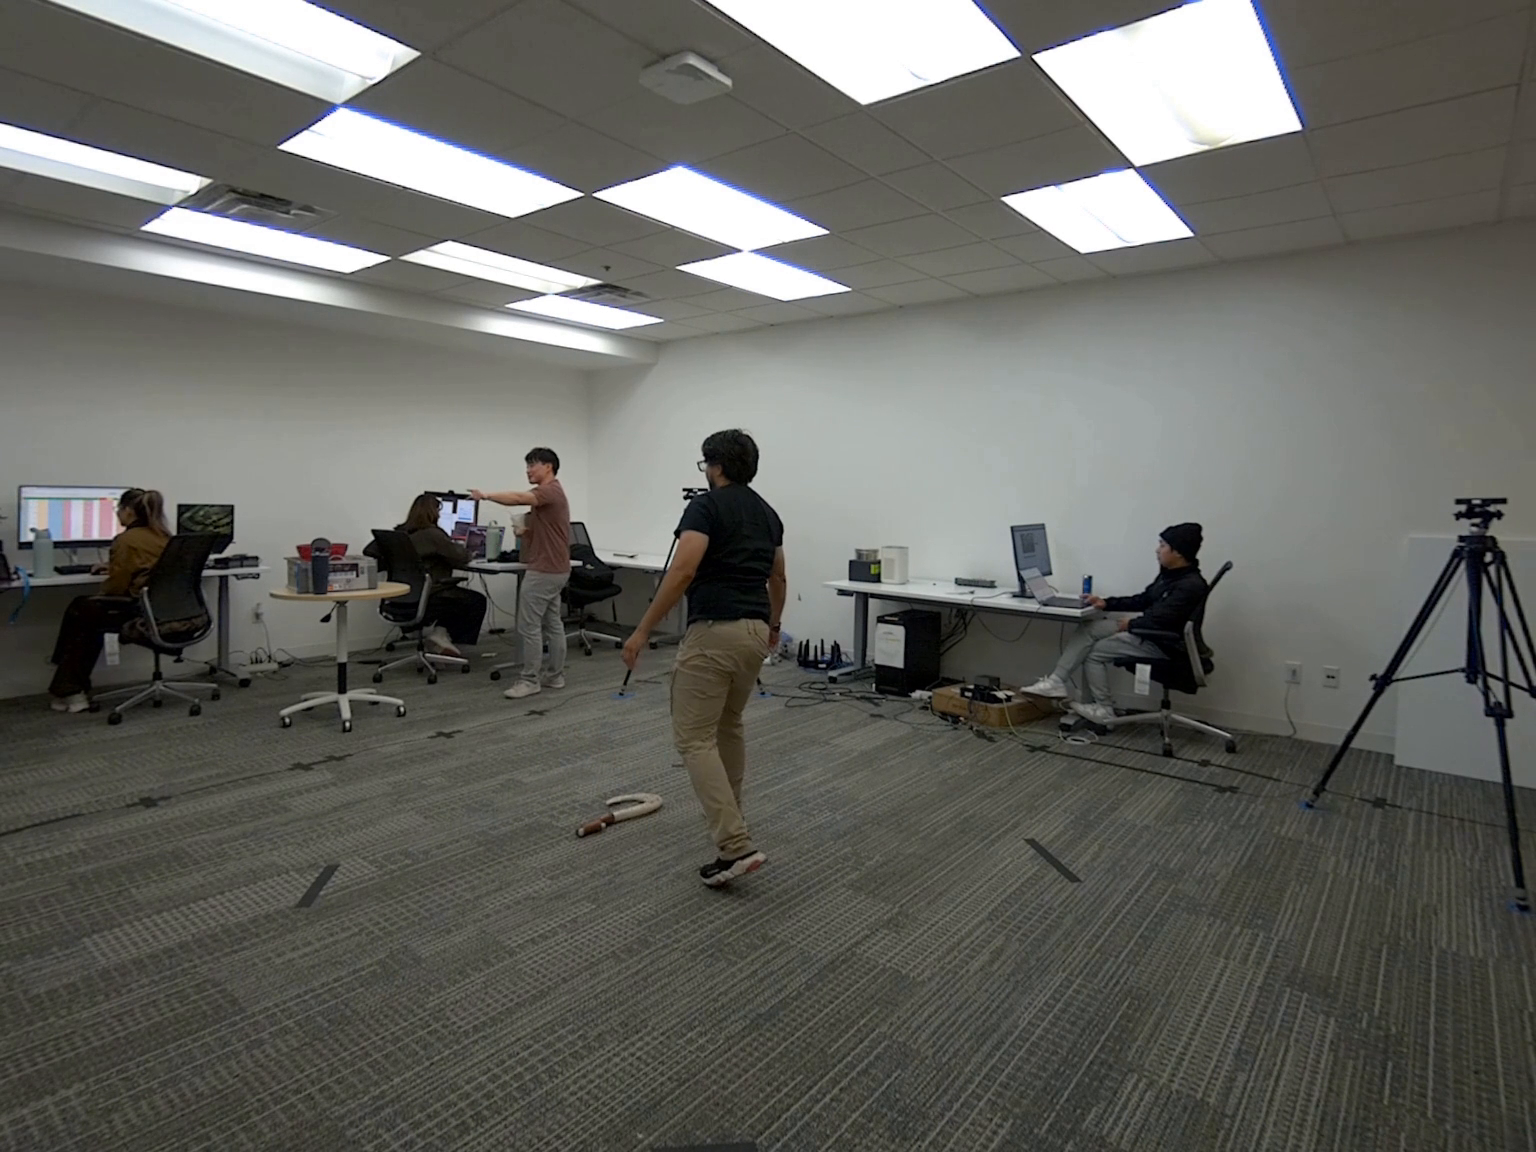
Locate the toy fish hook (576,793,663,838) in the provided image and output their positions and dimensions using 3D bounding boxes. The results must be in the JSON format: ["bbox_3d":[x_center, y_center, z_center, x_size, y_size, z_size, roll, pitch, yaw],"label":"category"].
[{"bbox_3d":[-0.668,0.999,3.596,0.231,0.048,0.492,-3,1,35],"label":"toy fish hook"}]
